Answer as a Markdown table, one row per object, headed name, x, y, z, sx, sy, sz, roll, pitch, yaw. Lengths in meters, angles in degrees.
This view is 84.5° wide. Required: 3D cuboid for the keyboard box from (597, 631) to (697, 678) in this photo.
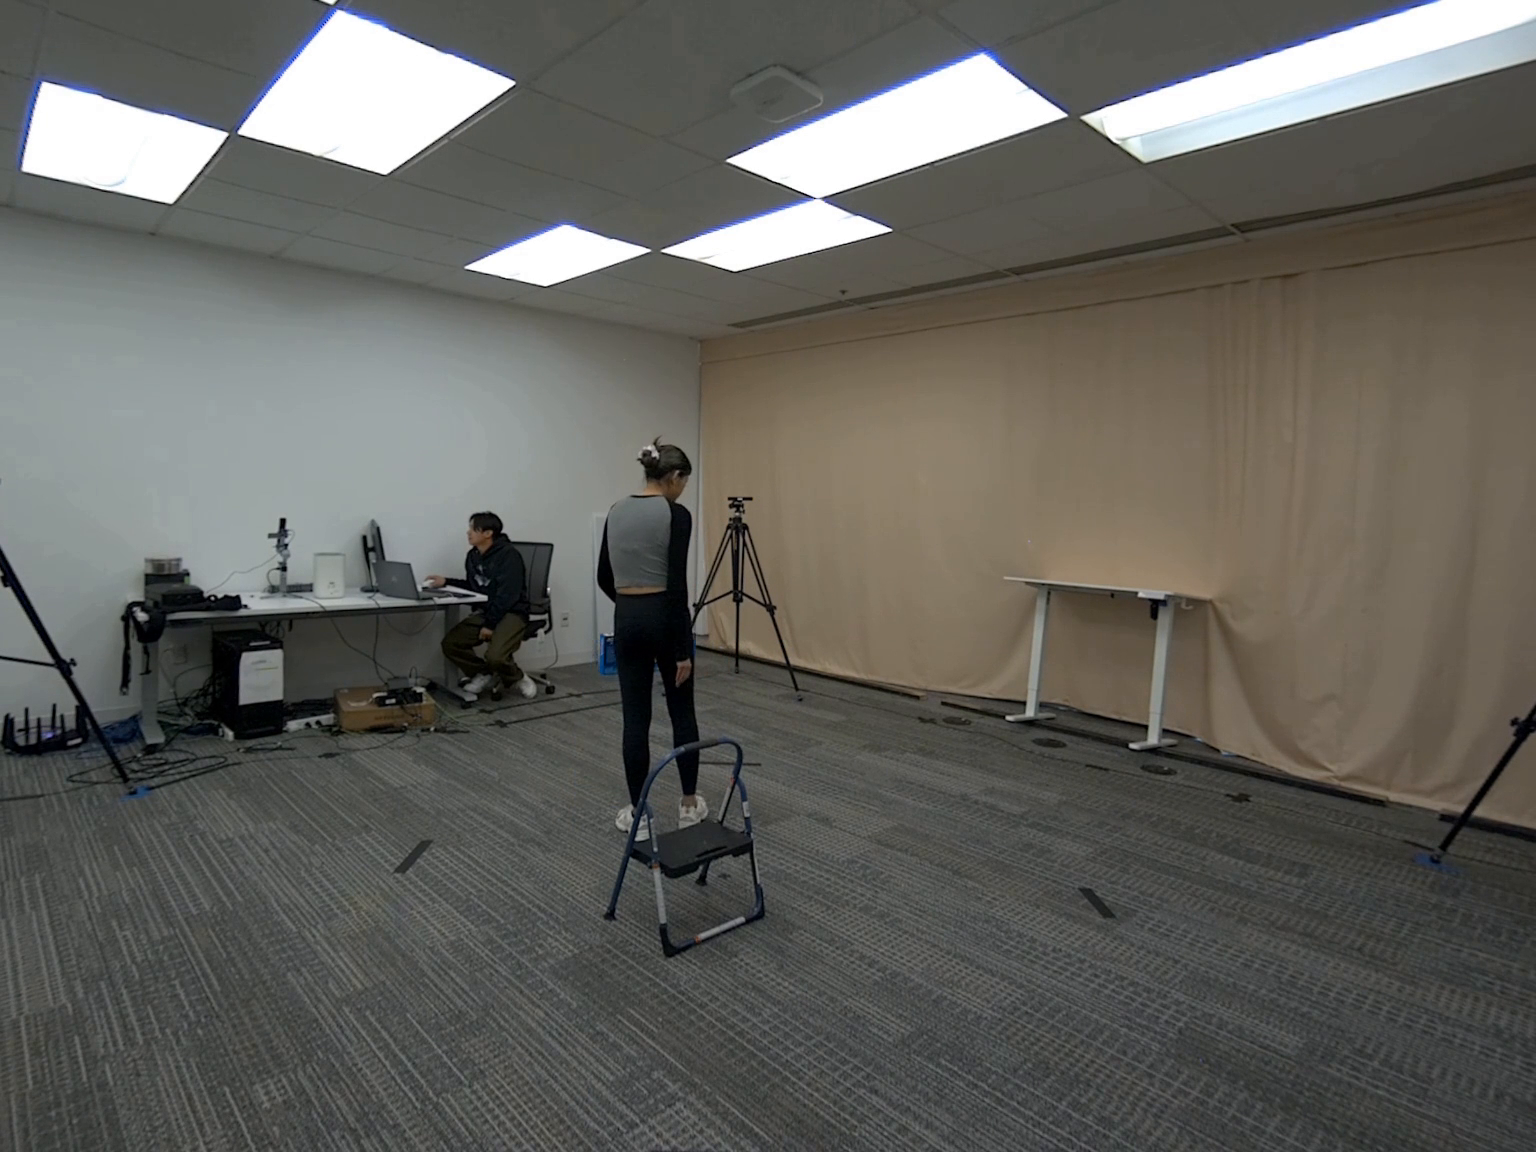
| name | x | y | z | sx | sy | sz | roll | pitch | yaw |
| --- | --- | --- | --- | --- | --- | --- | --- | --- | --- |
| keyboard box | -0.532 | 0.340 | 3.743 | 0.428 | 0.175 | 0.060 | 0 | 7 | -28 |
